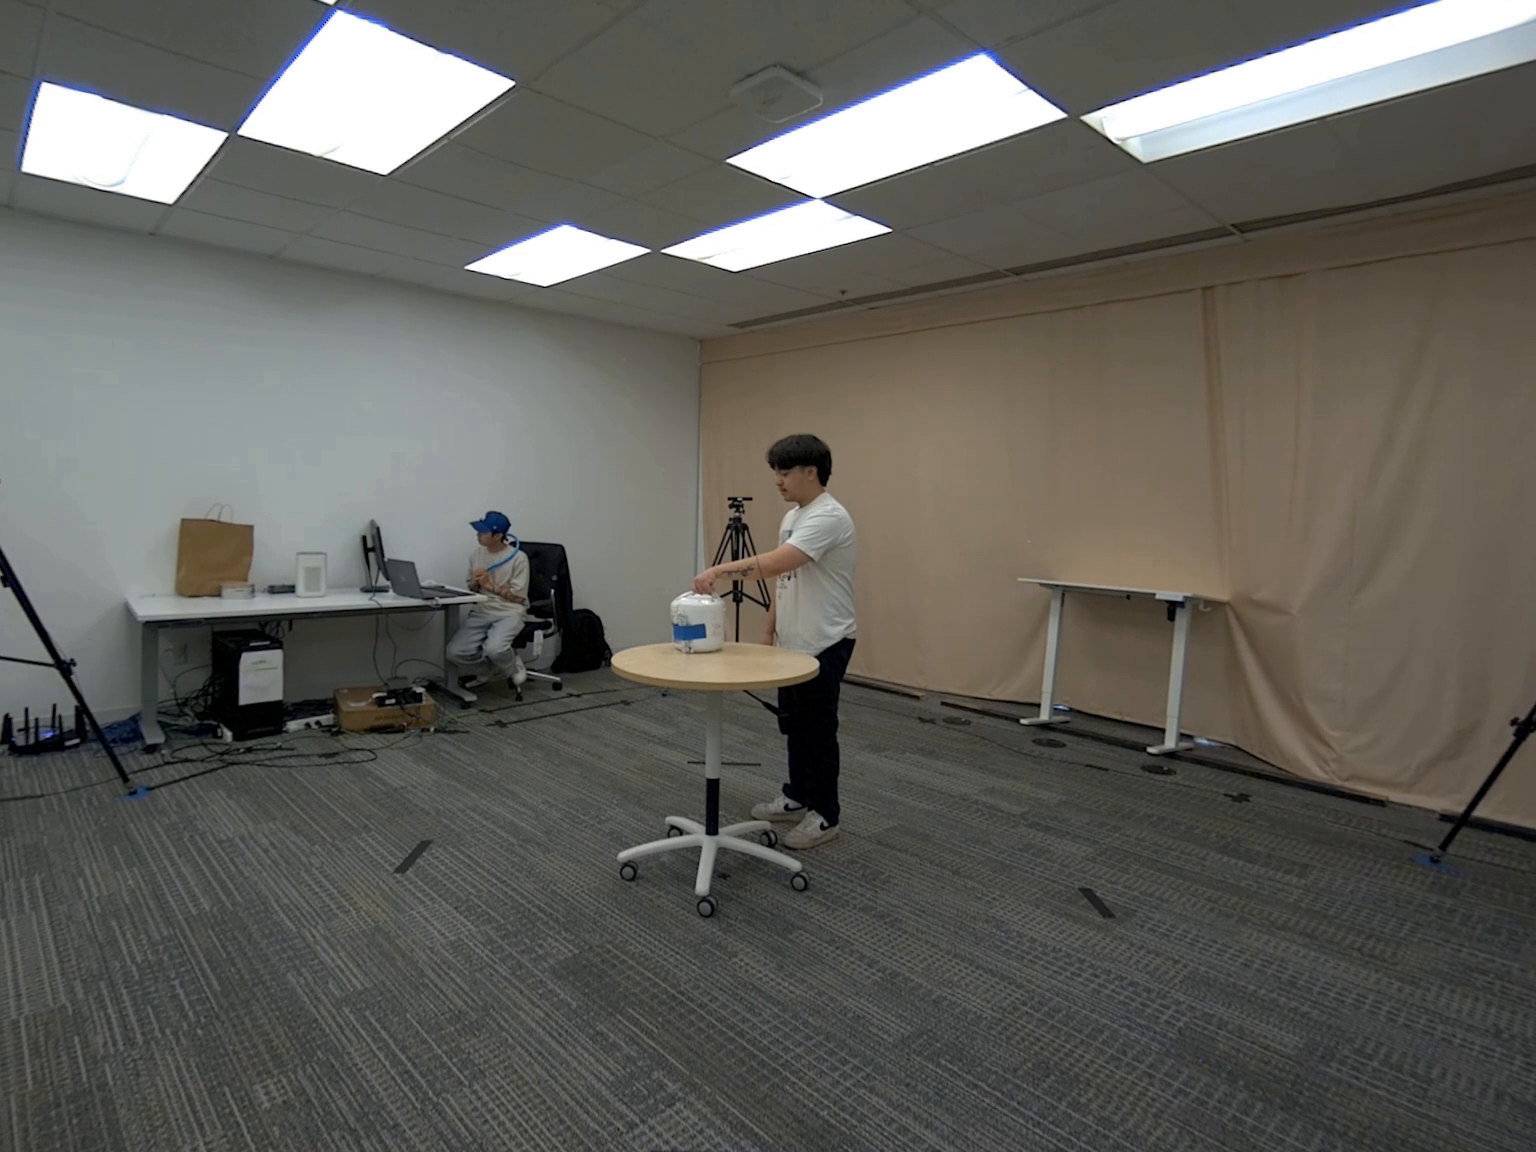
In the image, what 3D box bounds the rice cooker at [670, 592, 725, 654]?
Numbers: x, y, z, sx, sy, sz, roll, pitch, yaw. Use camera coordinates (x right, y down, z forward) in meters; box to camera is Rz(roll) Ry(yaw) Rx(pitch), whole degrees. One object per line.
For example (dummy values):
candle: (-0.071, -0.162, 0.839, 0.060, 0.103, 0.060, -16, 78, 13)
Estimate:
rice cooker: (-0.283, 0.173, 3.302, 0.217, 0.232, 0.221, 0, 5, -21)
